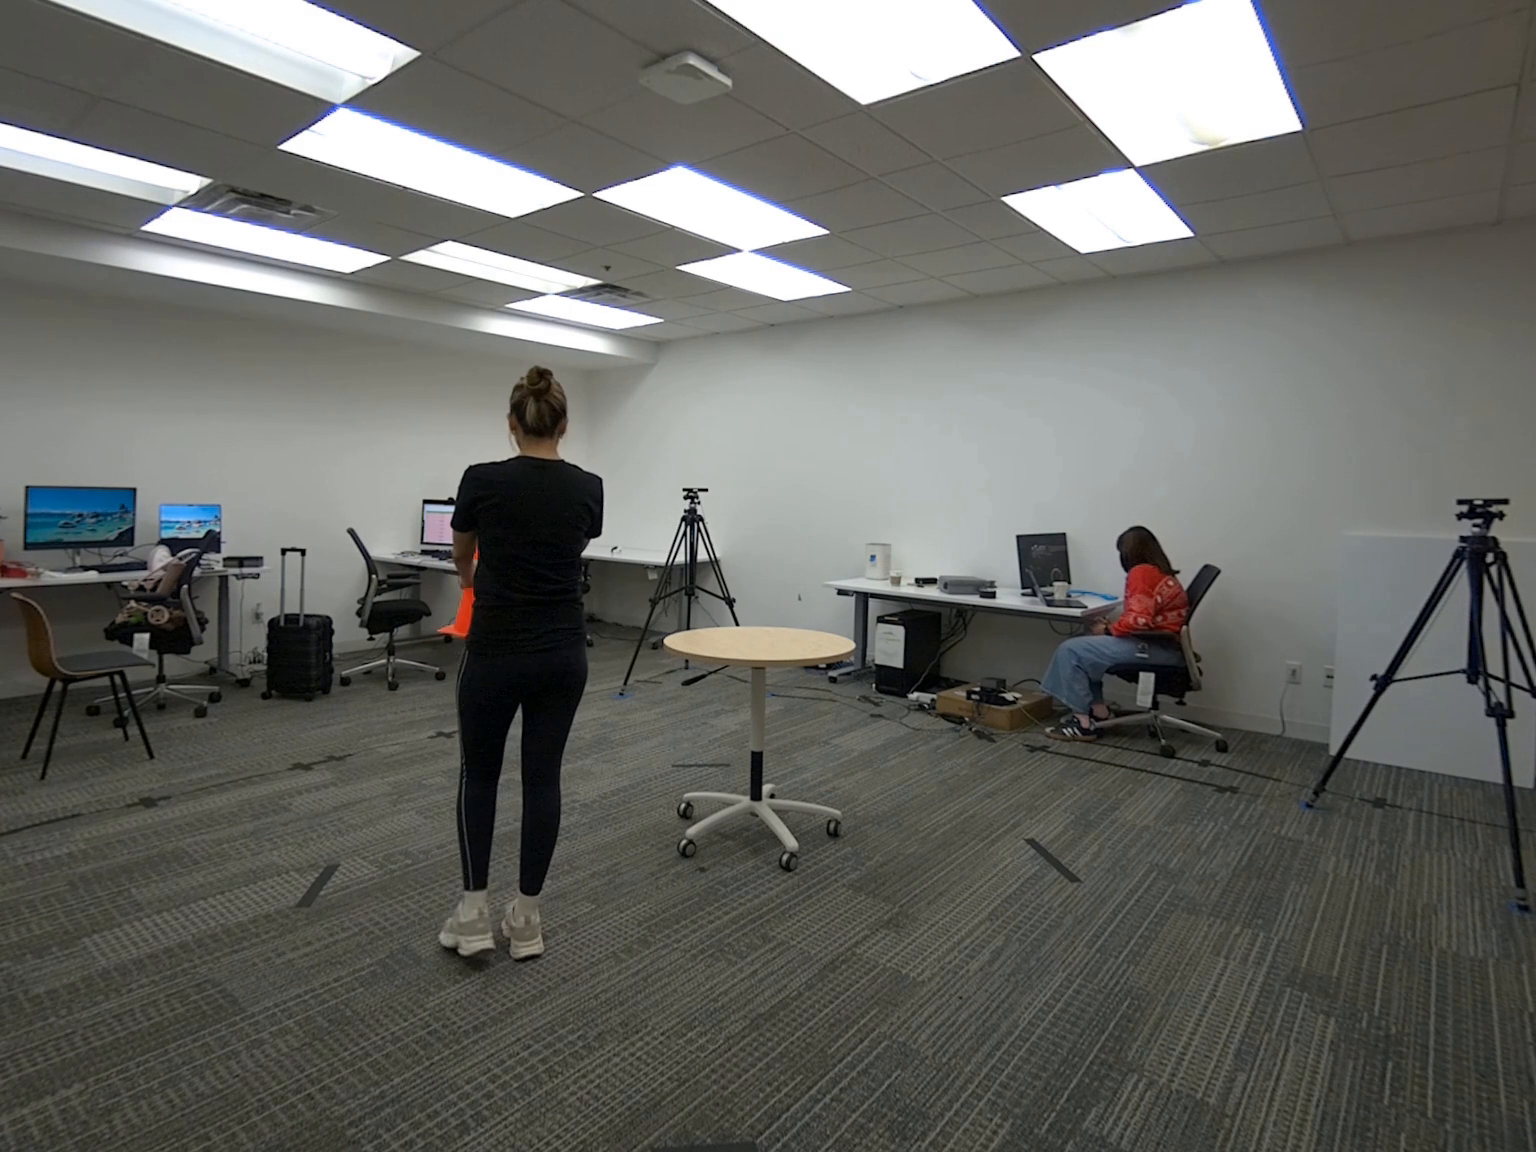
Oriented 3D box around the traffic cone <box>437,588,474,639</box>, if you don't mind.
[{"bbox_3d":[-1.021,0.009,2.978,0.208,0.382,0.201,7,4,17],"label":"traffic cone"}]
